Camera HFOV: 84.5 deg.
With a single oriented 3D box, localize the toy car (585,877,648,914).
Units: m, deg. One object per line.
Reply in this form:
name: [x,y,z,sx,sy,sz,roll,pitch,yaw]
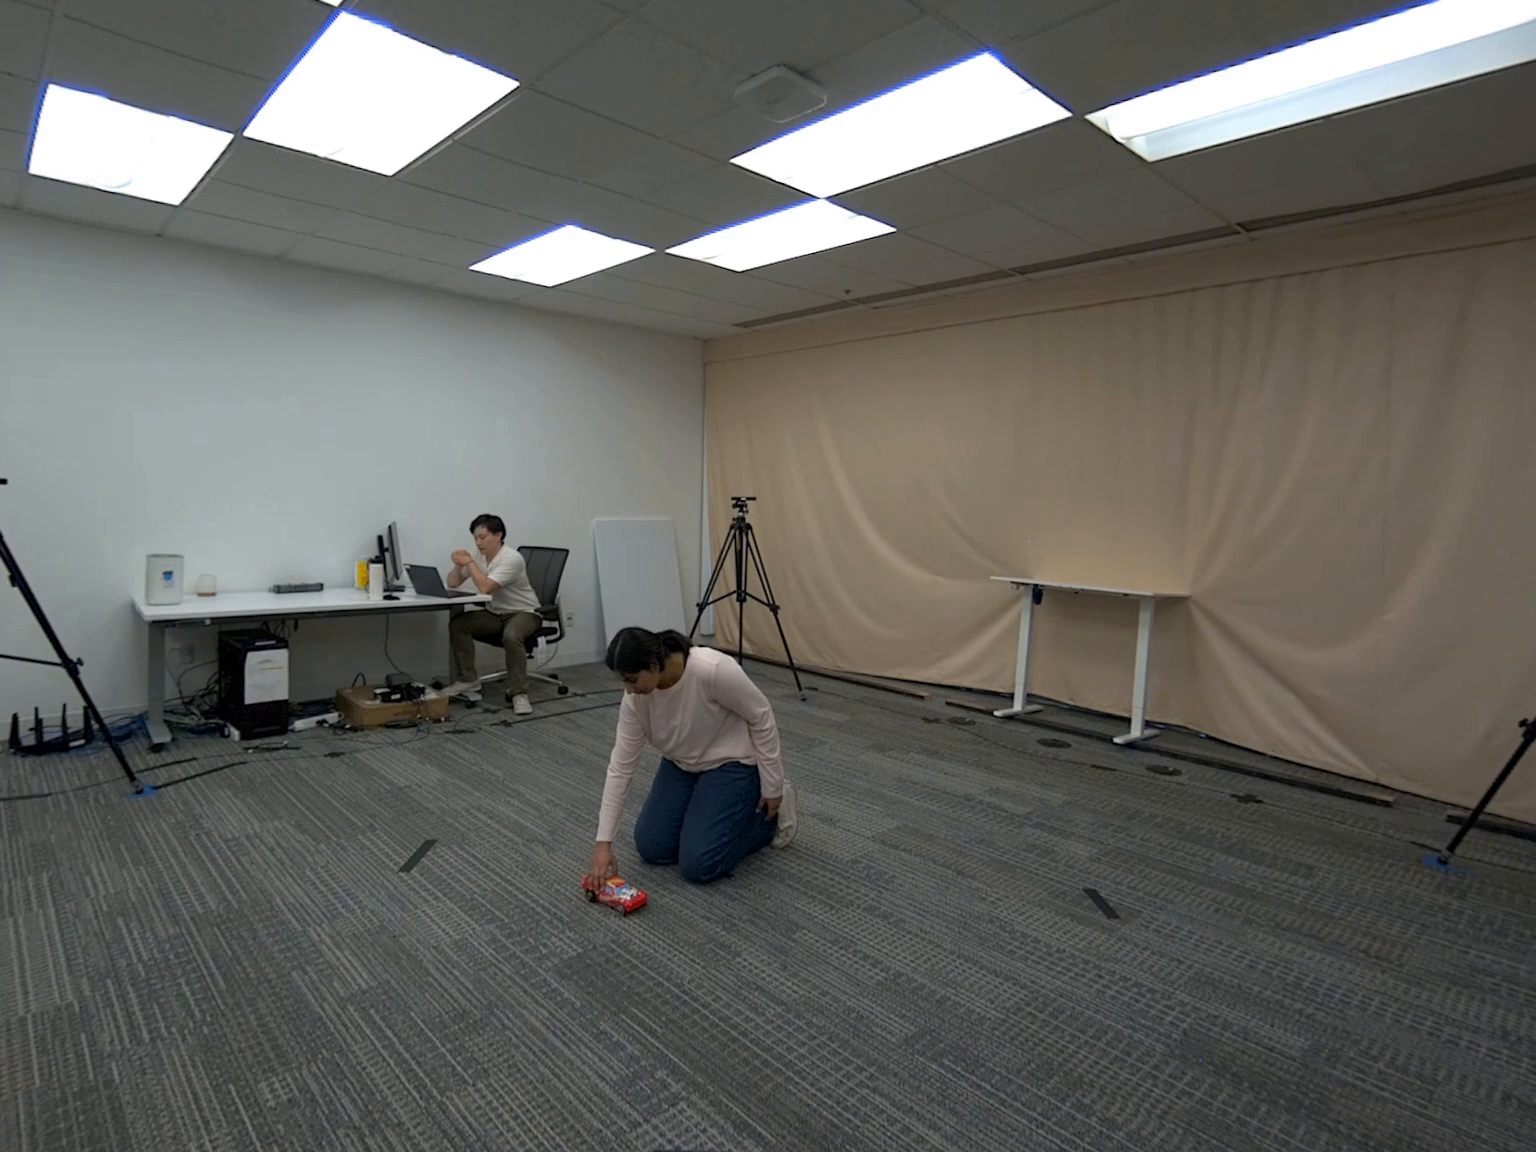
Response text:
toy car: [-0.543,1.088,2.887,0.262,0.083,0.127,18,13,38]
